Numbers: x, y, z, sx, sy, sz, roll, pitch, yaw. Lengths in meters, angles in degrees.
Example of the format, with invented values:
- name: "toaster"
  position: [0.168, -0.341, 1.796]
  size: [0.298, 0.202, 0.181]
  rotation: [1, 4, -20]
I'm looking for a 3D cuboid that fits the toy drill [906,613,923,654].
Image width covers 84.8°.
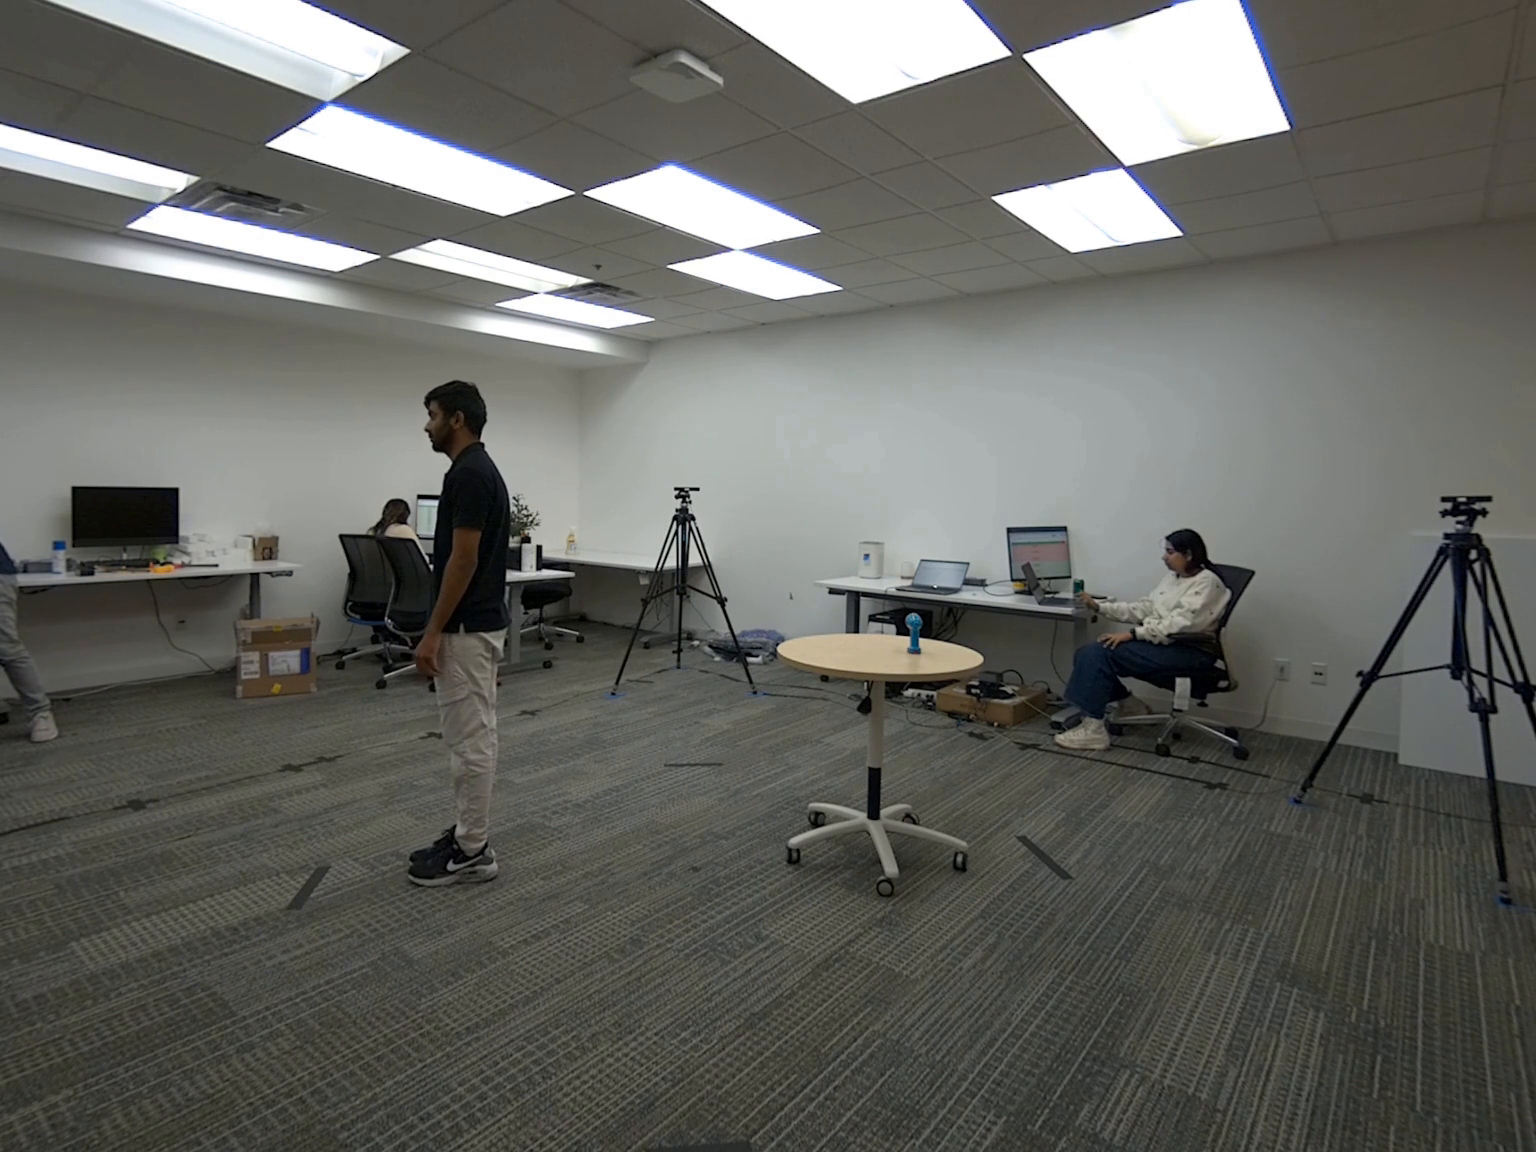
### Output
- name: "toy drill"
  position: [0.547, 0.210, 3.262]
  size: [0.061, 0.145, 0.171]
  rotation: [0, 5, -4]
